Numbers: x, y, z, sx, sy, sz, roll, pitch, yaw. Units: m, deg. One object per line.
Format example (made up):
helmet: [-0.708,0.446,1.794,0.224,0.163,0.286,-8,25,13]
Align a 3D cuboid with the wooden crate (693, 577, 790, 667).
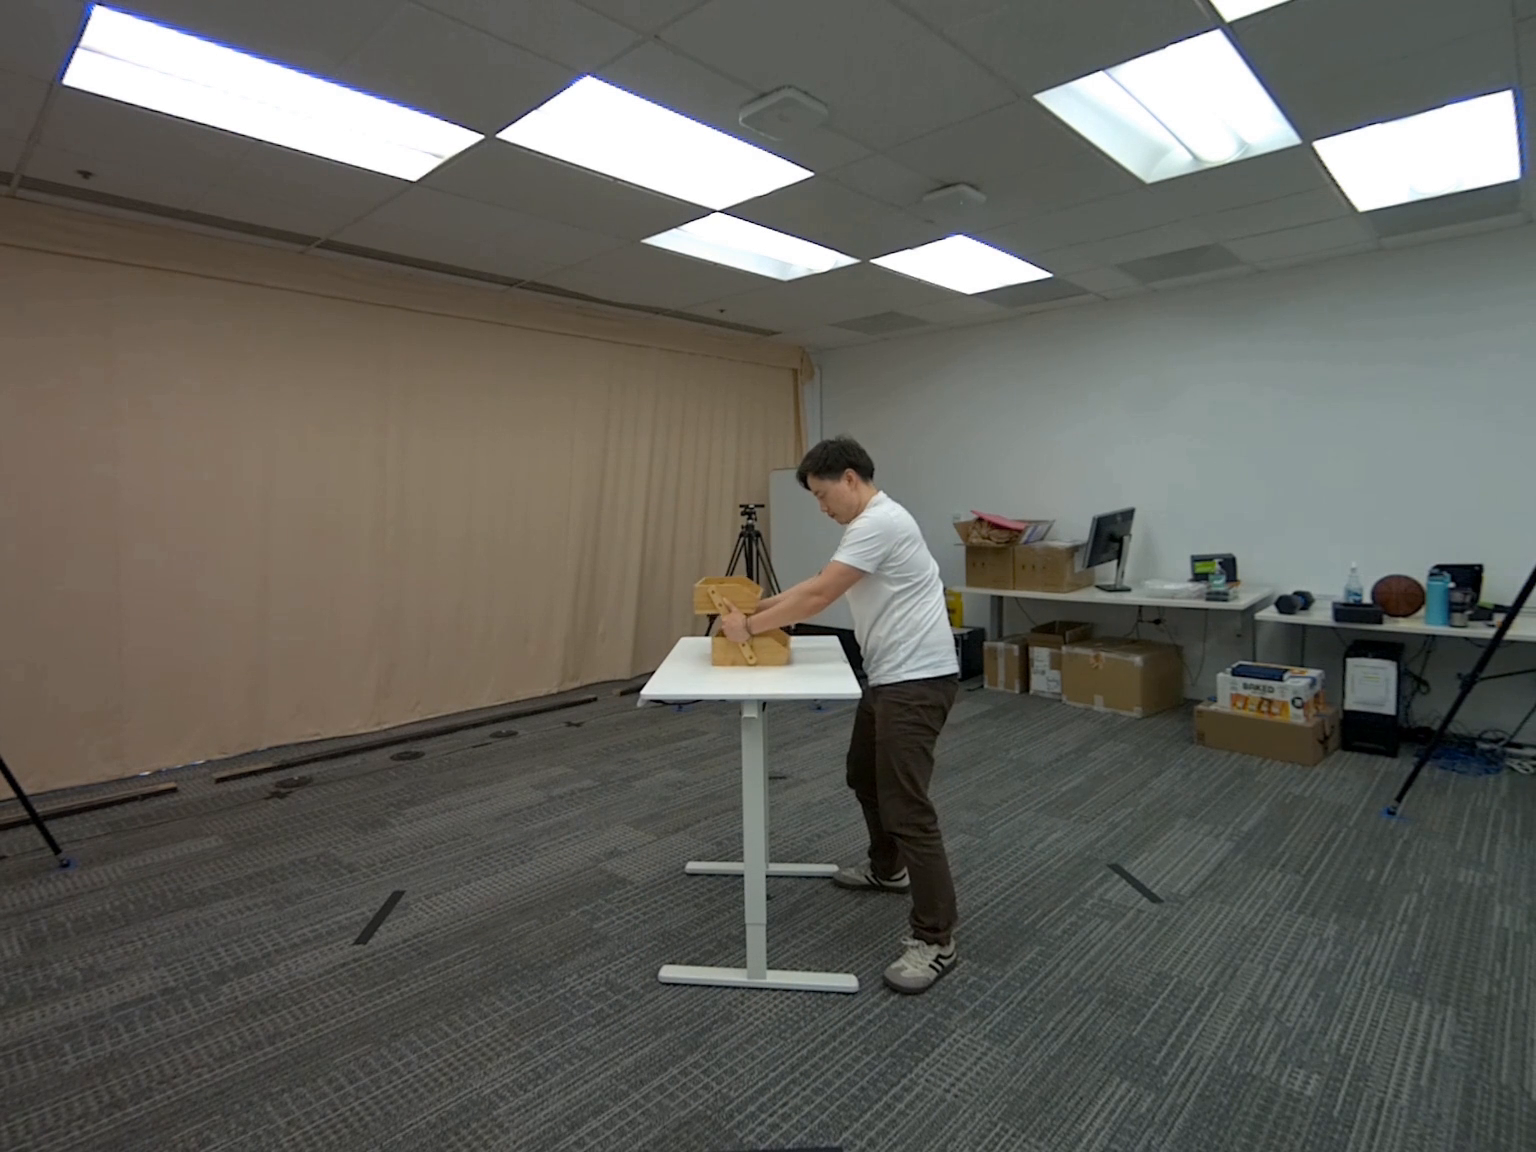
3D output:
wooden crate: [-0.070,0.149,2.800,0.304,0.273,0.323,-1,4,4]
